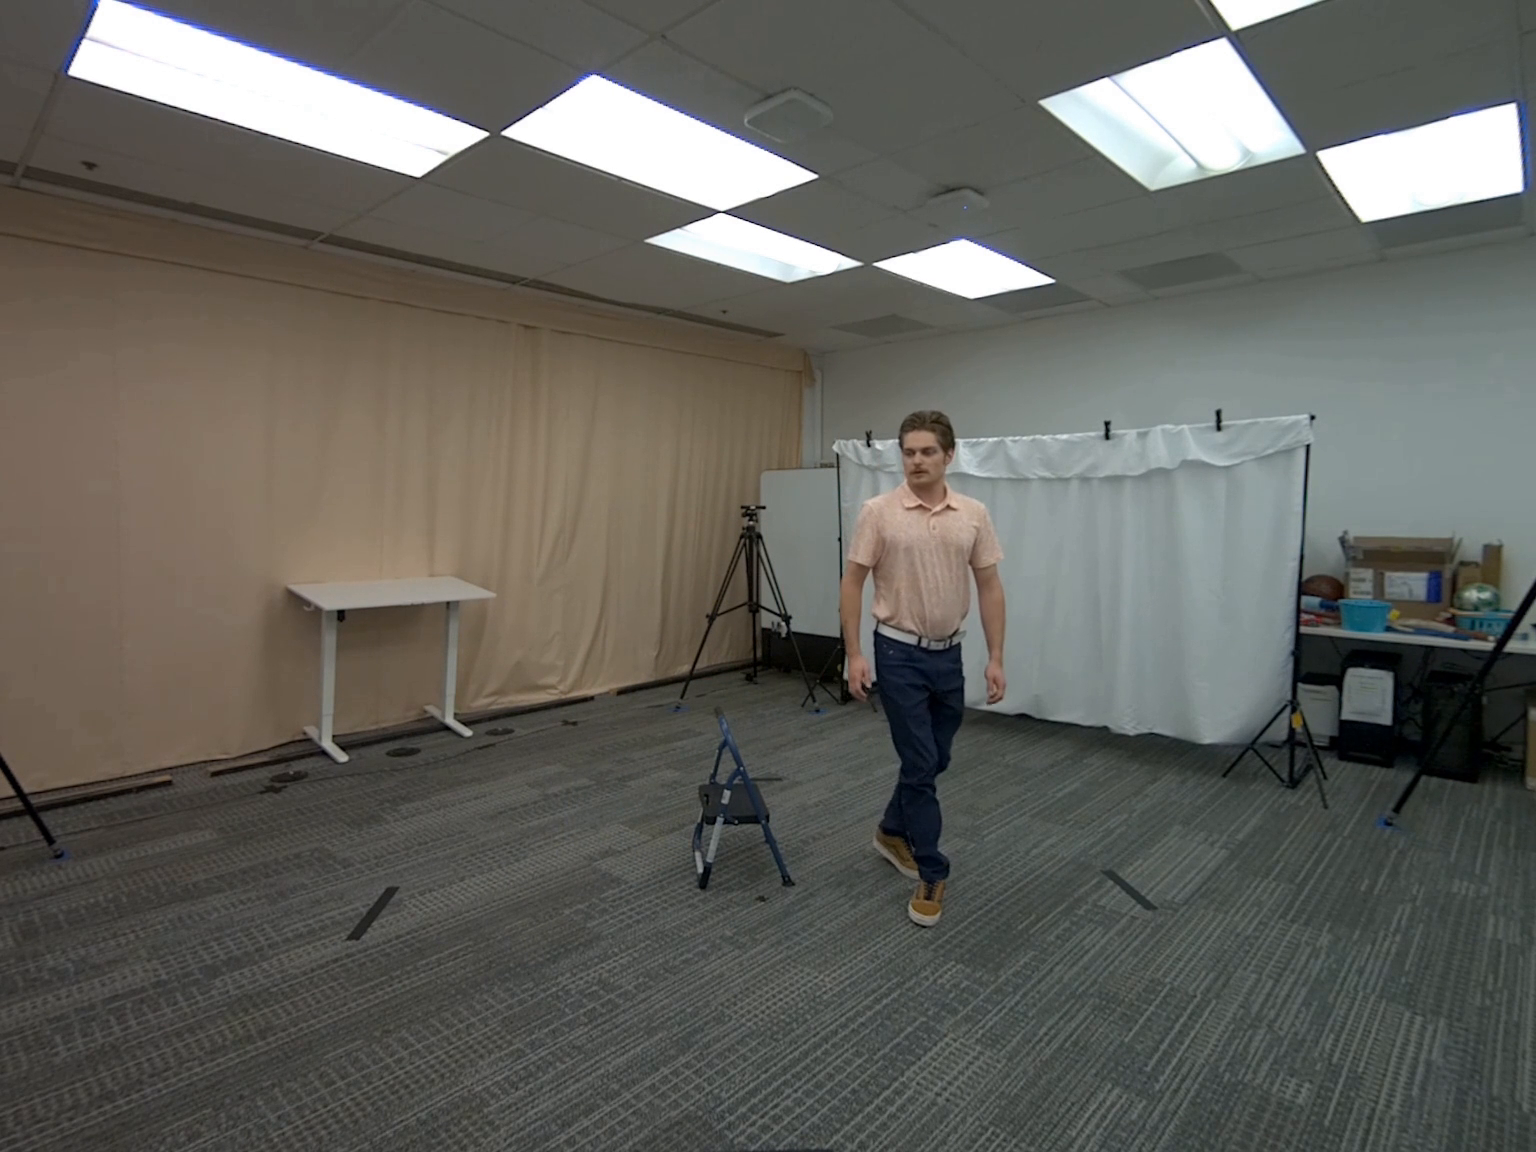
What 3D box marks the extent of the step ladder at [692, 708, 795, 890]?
[{"bbox_3d":[-0.117,0.819,3.260,0.346,0.605,0.435,-2,3,-9],"label":"step ladder"}]
